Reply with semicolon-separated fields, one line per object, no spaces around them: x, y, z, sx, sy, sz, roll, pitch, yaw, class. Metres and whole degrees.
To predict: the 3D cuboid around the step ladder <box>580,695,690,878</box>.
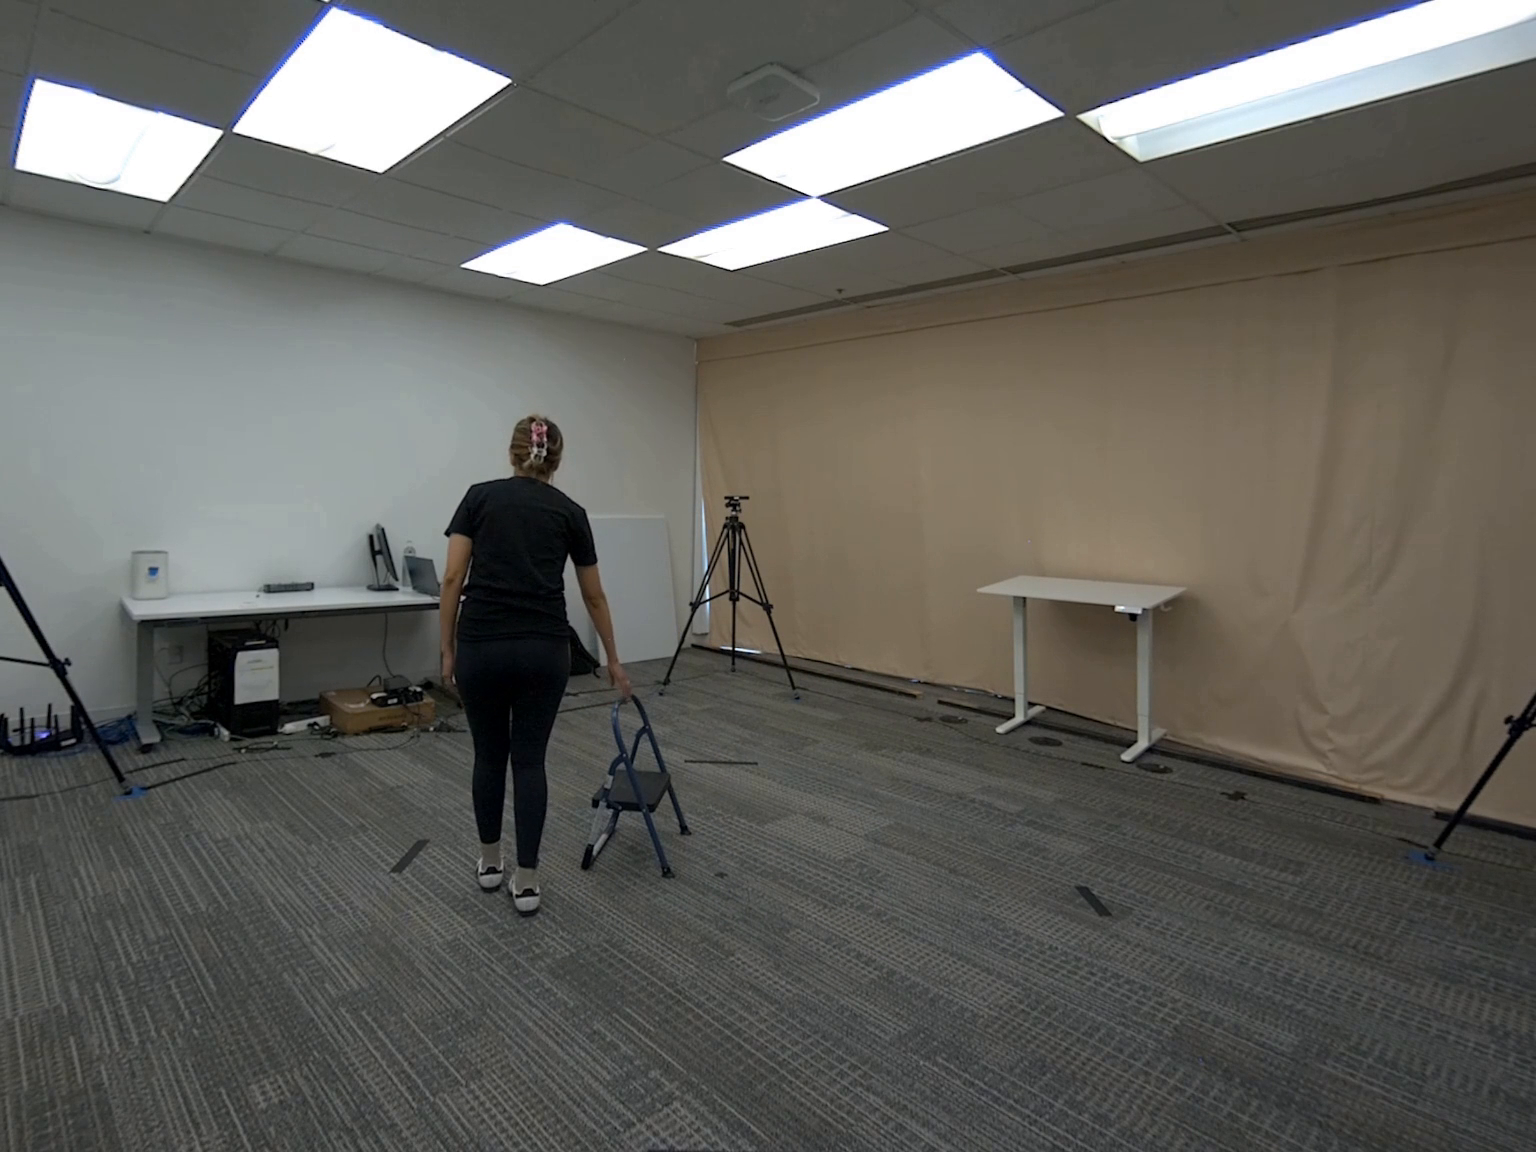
-0.505;0.779;3.282;0.351;0.604;0.430;2;4;4;step ladder
